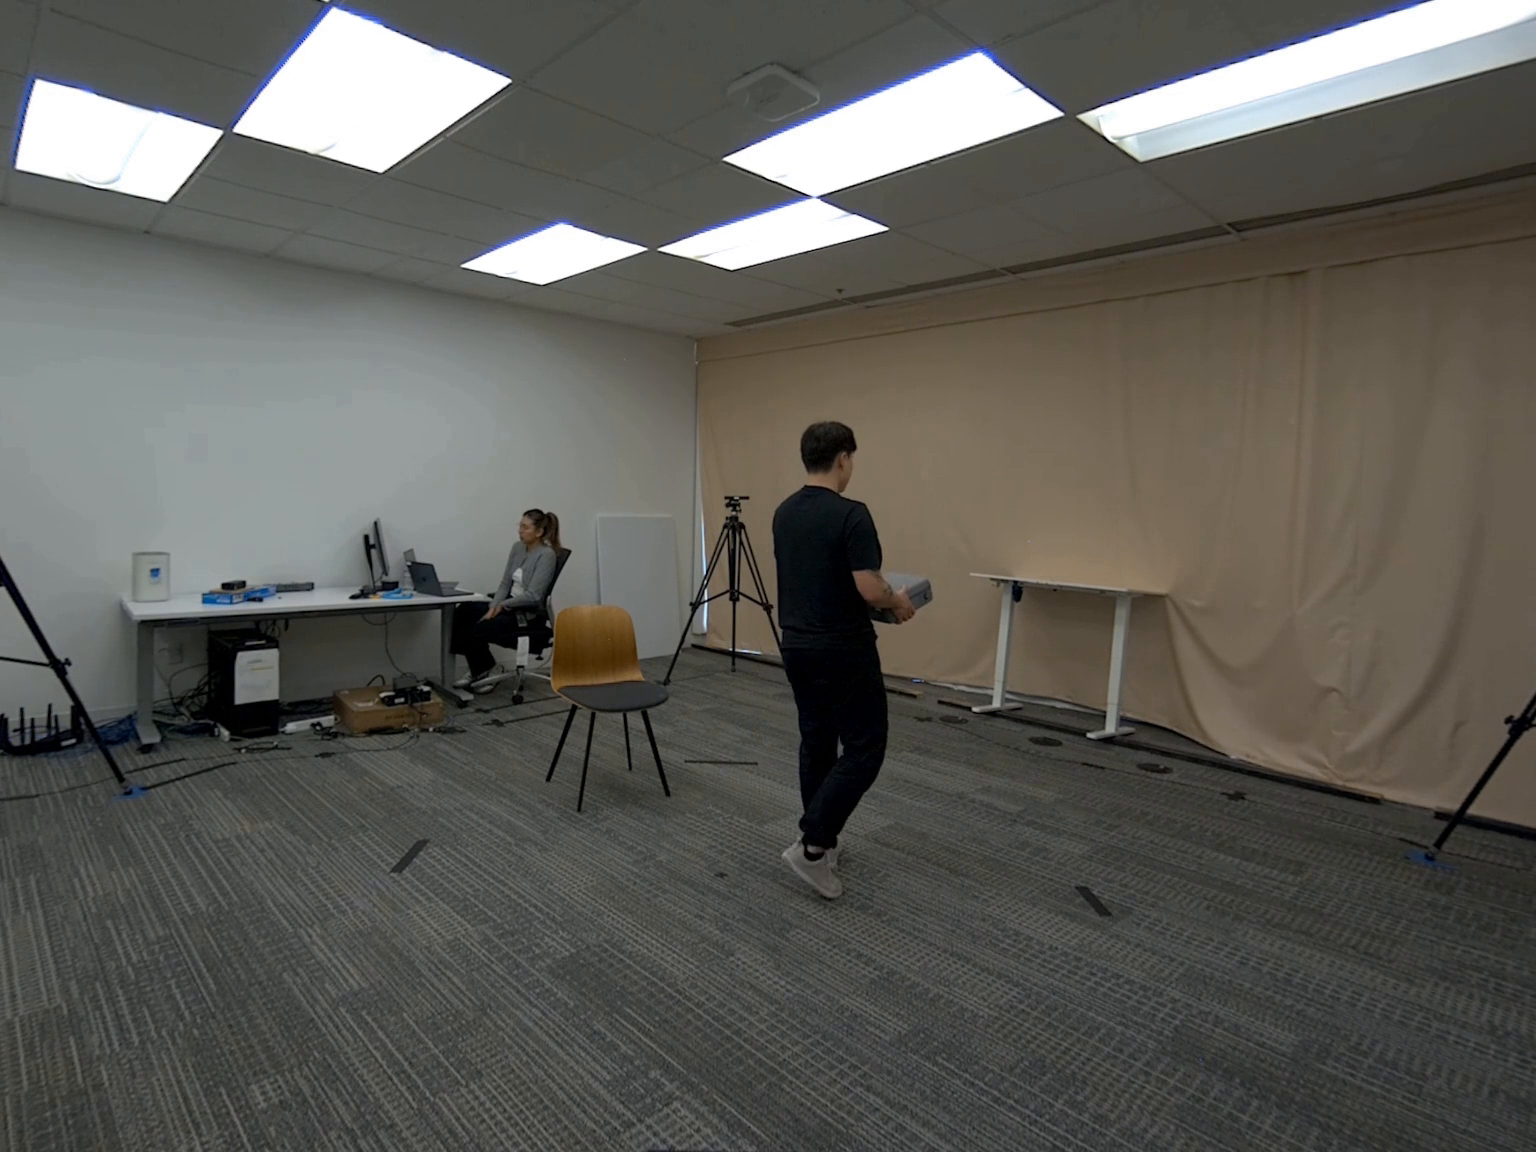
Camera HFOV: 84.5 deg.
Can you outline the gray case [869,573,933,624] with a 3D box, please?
[{"bbox_3d":[0.470,0.077,3.310,0.258,0.103,0.263,-25,18,-30],"label":"gray case"}]
